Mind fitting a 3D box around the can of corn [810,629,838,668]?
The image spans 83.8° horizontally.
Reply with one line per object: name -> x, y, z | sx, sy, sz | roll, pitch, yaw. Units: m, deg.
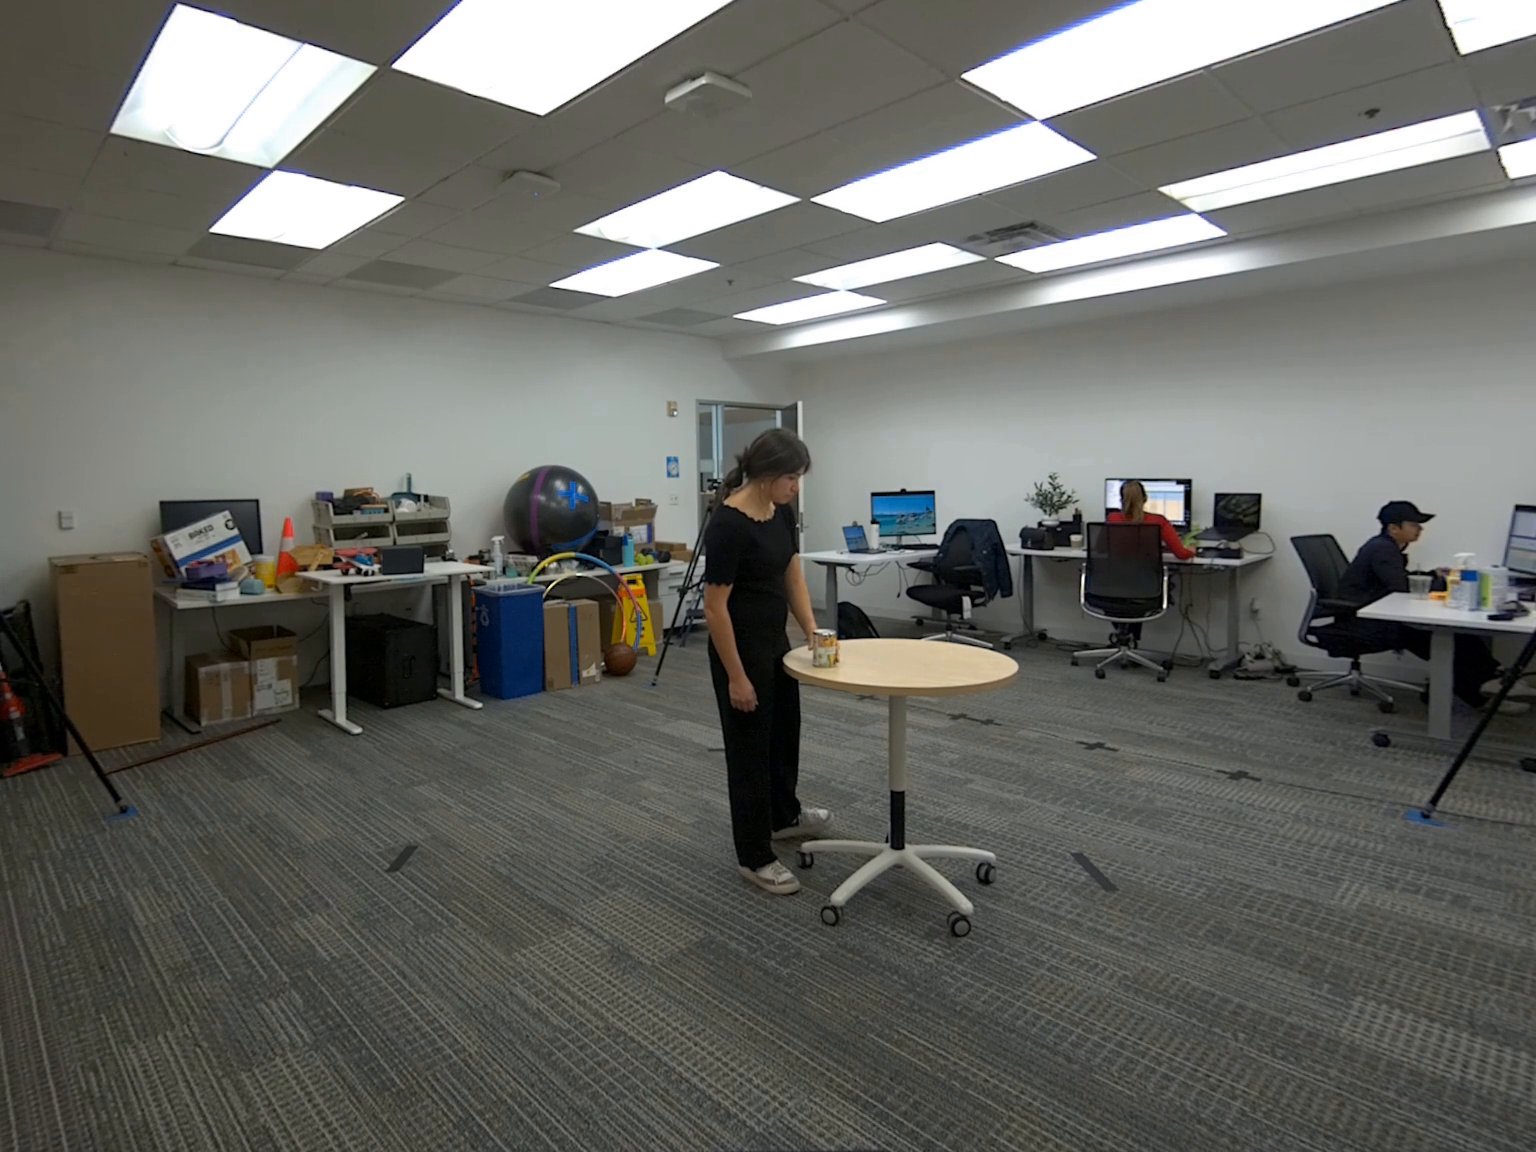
can of corn -> 0.170, 0.237, 2.776 | 0.074, 0.110, 0.074 | 0, 4, -2
